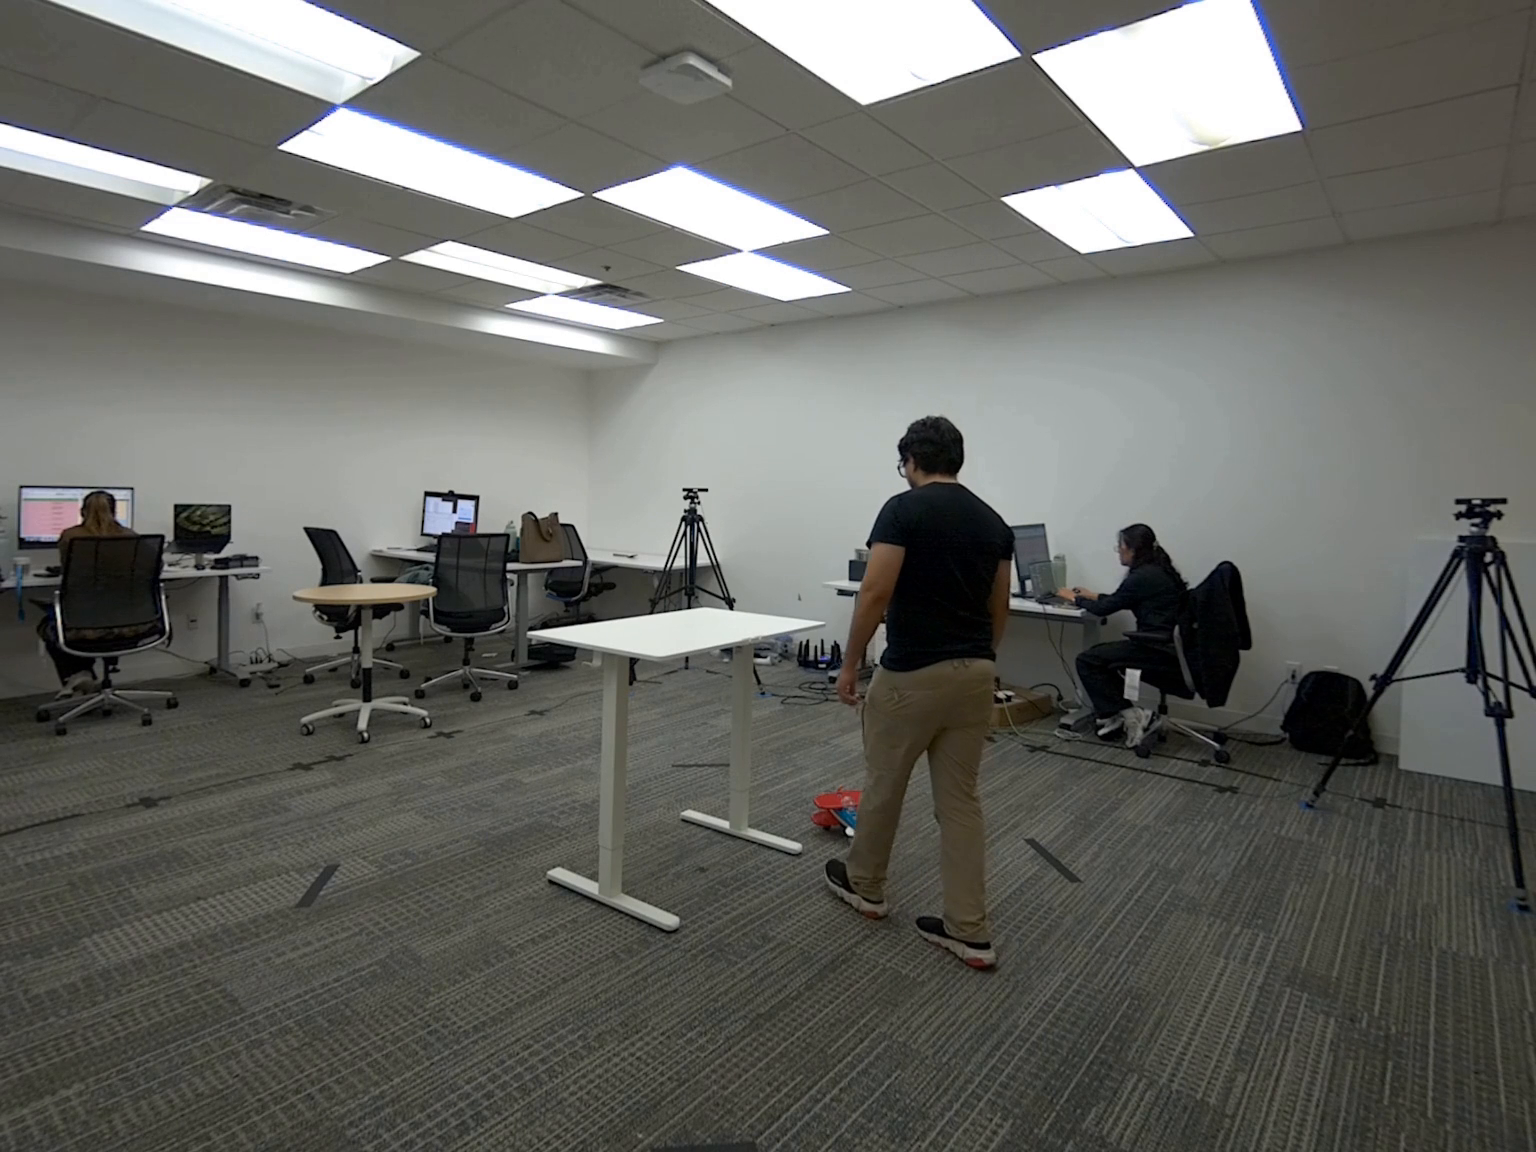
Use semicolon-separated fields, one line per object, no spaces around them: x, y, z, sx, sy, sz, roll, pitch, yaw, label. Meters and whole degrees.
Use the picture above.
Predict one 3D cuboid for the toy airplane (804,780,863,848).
0.326;0.972;3.445;0.268;0.156;0.243;3;4;40;toy airplane
